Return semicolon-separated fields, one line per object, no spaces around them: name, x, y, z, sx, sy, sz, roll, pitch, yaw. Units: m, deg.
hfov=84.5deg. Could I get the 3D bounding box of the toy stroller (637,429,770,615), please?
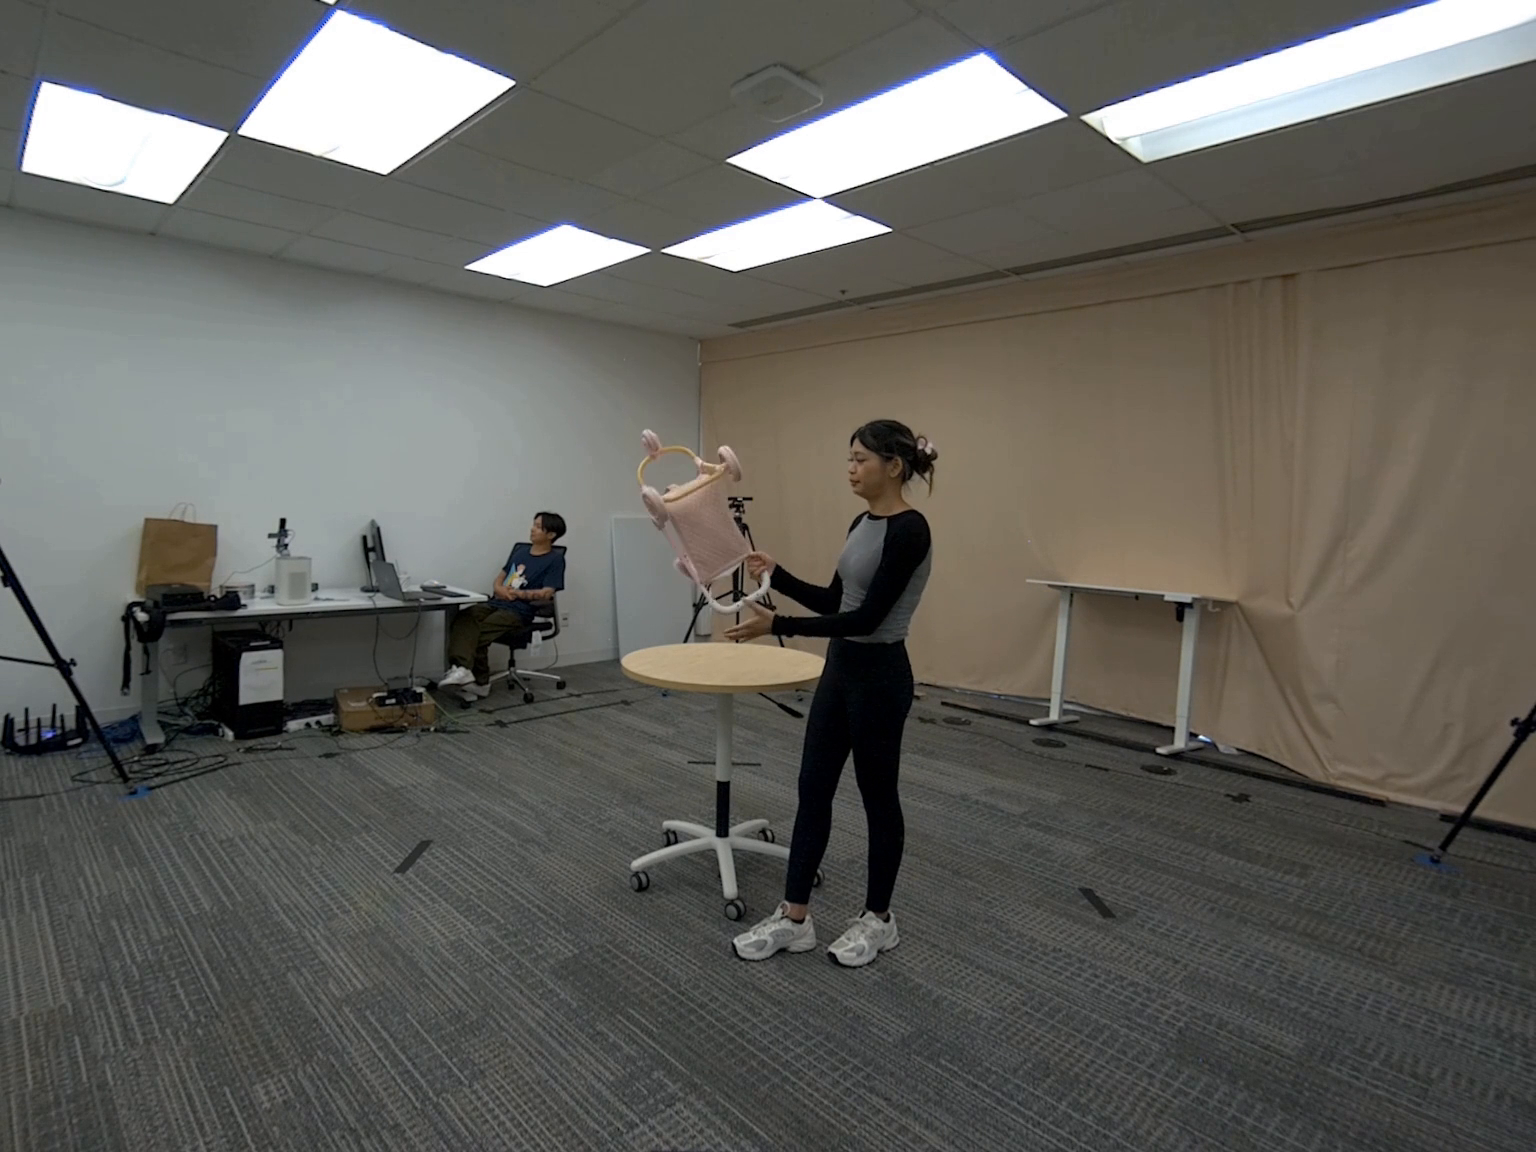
toy stroller;-0.216;-0.171;2.528;0.280;0.521;0.352;-33;33;-20
